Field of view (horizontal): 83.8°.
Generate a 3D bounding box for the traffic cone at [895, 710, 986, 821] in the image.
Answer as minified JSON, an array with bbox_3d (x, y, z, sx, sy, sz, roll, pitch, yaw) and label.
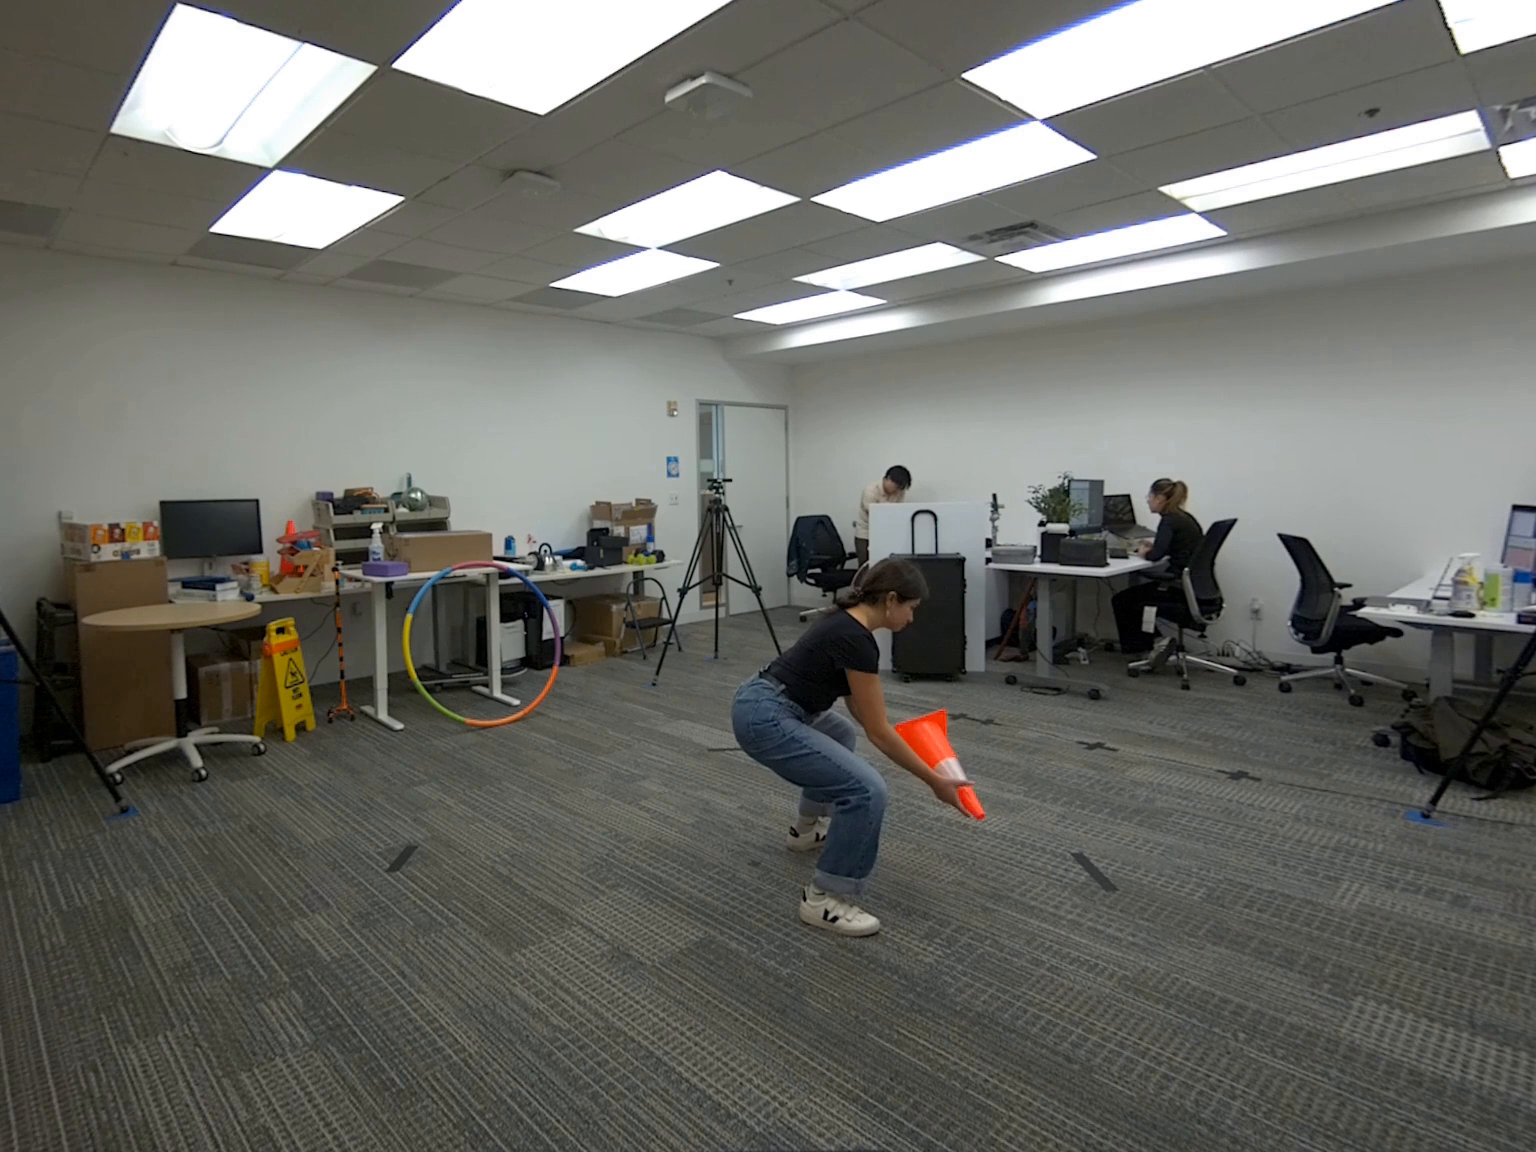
[{"bbox_3d":[0.626,0.668,2.833,0.202,0.198,0.398,-12,32,-18],"label":"traffic cone"}]
